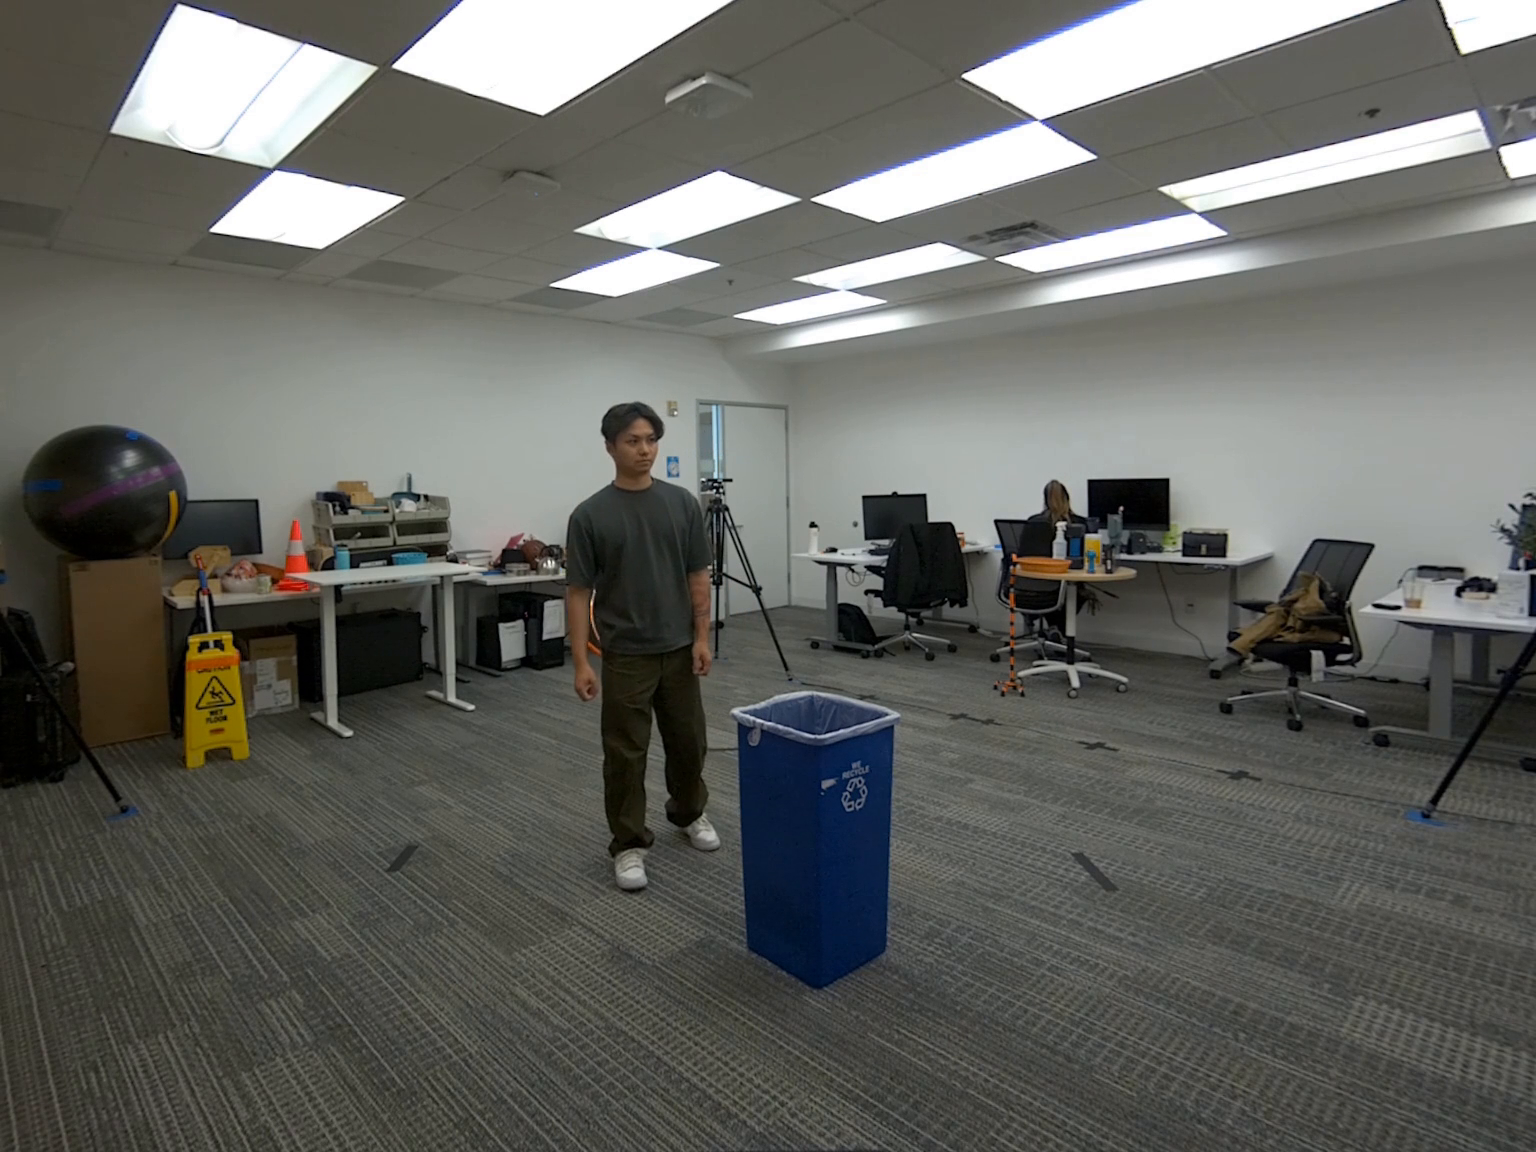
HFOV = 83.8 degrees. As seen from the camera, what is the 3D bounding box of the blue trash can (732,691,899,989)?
[{"bbox_3d":[0.137,0.752,2.517,0.368,0.710,0.386,-4,6,-43],"label":"blue trash can"}]
